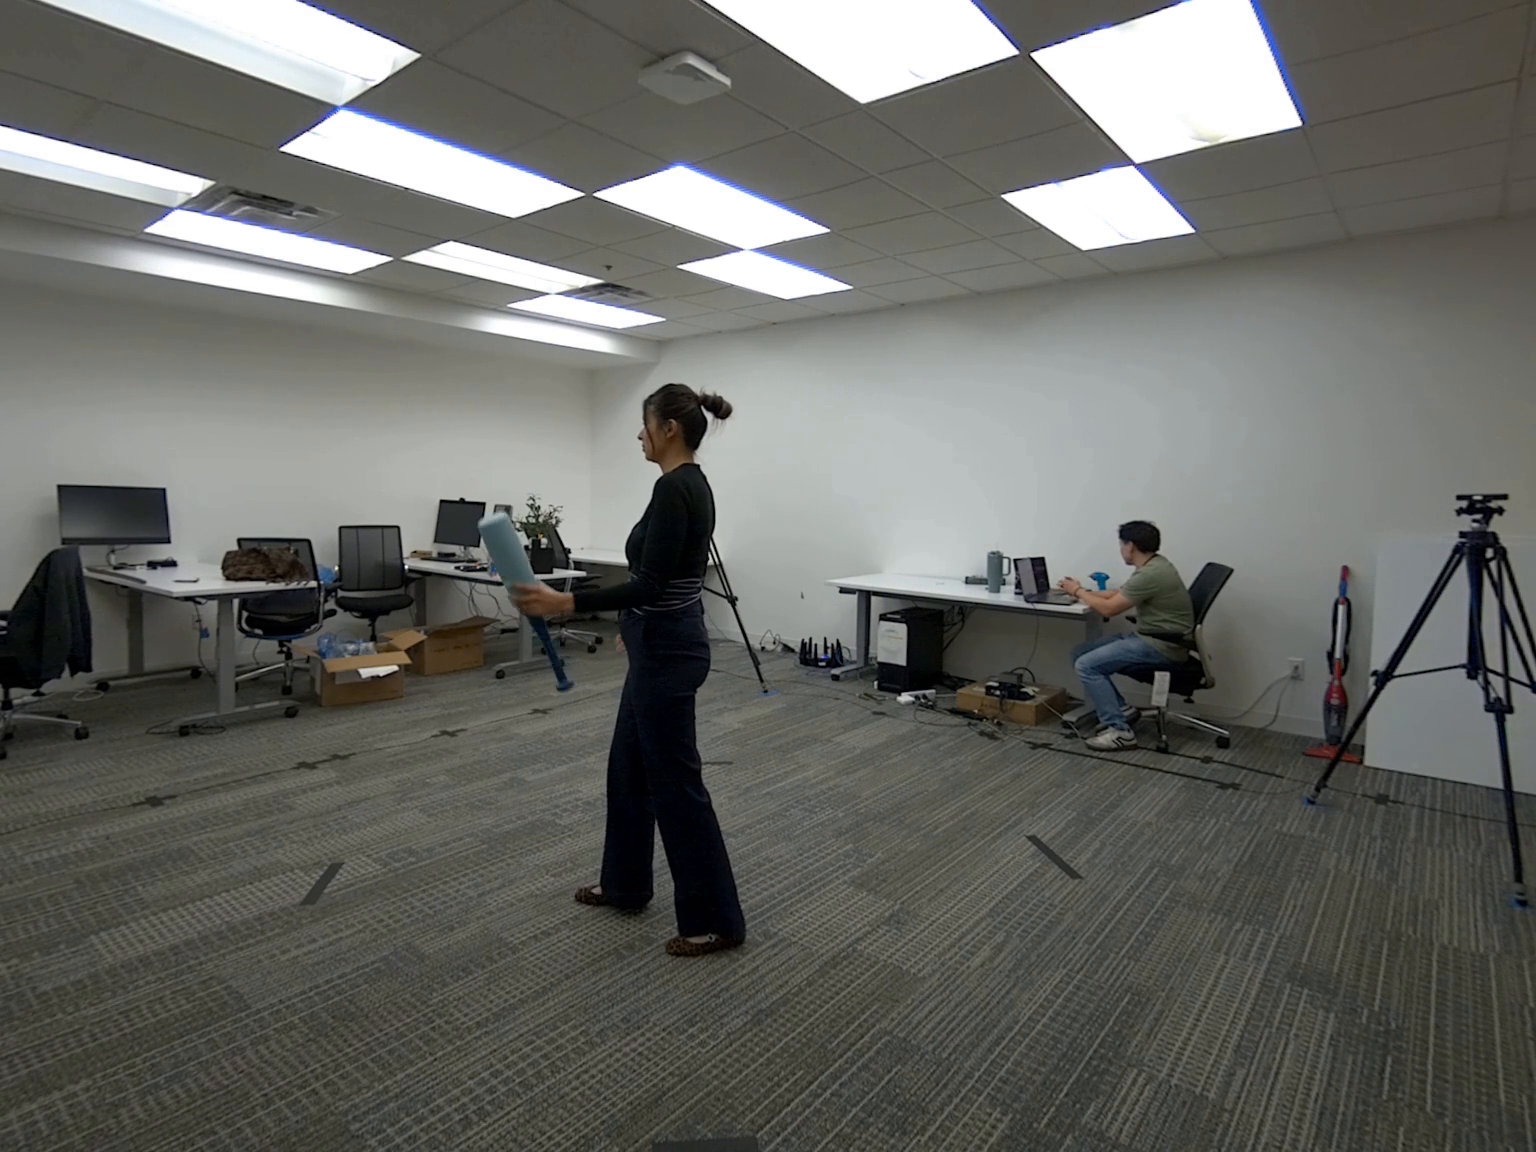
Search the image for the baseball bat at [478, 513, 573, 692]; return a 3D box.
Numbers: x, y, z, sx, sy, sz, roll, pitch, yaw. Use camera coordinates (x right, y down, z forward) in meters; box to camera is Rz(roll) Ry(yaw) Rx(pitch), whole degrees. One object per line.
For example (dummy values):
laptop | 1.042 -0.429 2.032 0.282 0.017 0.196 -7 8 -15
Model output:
baseball bat | -0.650 0.060 2.340 0.089 0.531 0.090 -16 18 4
